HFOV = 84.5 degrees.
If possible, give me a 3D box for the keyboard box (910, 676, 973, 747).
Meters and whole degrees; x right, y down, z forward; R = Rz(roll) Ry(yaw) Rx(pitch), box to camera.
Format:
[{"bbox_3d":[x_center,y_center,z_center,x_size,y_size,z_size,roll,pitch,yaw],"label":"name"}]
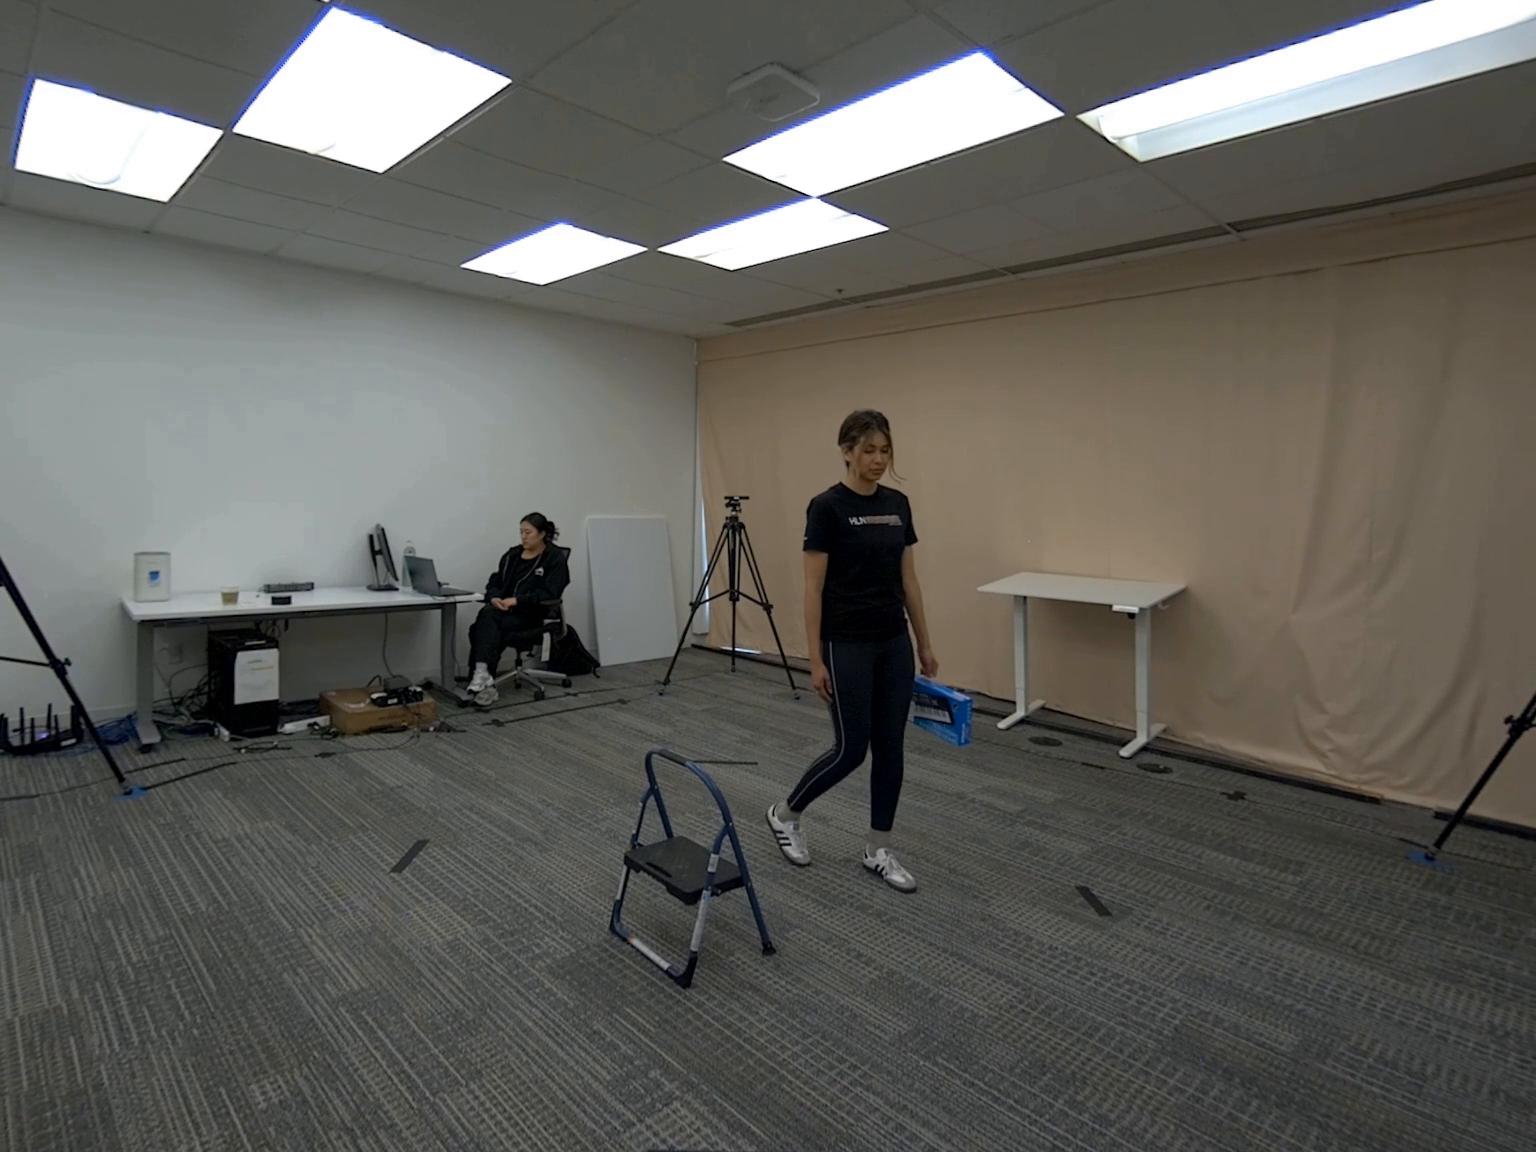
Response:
[{"bbox_3d":[0.586,0.487,3.202,0.058,0.174,0.448,-5,12,-30],"label":"keyboard box"}]
